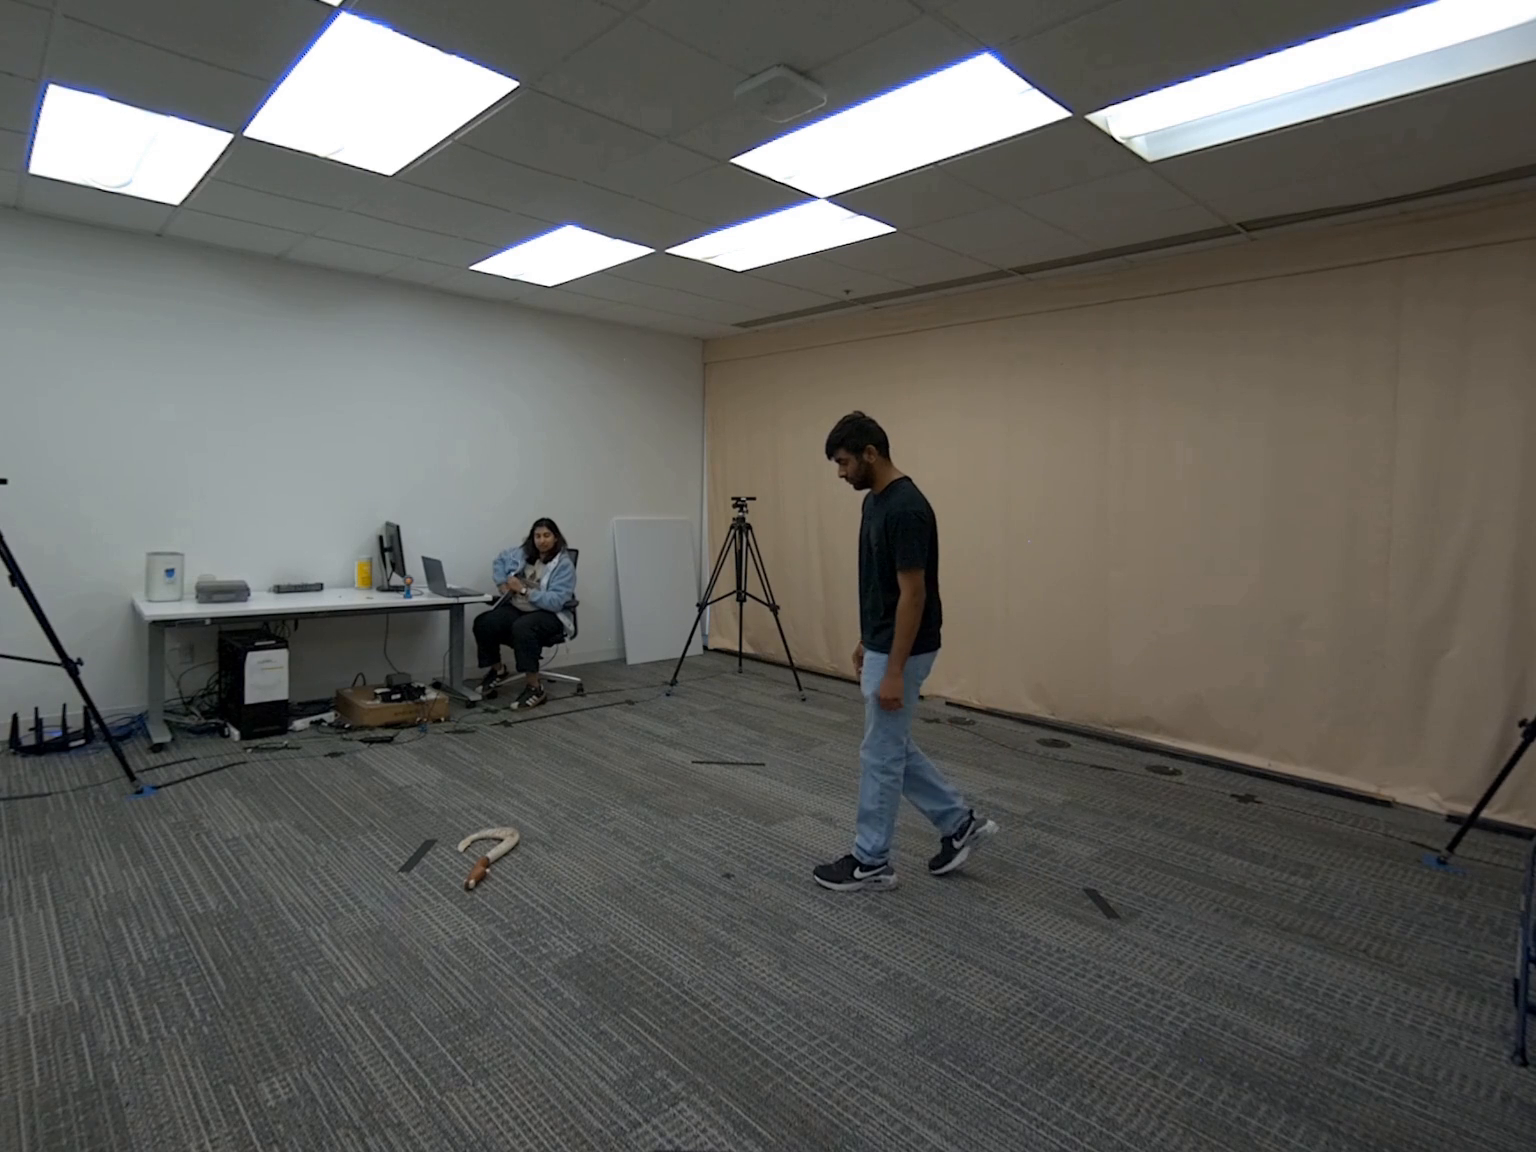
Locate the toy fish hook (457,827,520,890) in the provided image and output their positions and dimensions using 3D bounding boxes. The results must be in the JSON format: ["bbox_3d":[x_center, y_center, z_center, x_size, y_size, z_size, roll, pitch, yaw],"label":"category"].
[{"bbox_3d":[-1.102,1.062,3.177,0.225,0.048,0.507,-6,5,1],"label":"toy fish hook"}]
